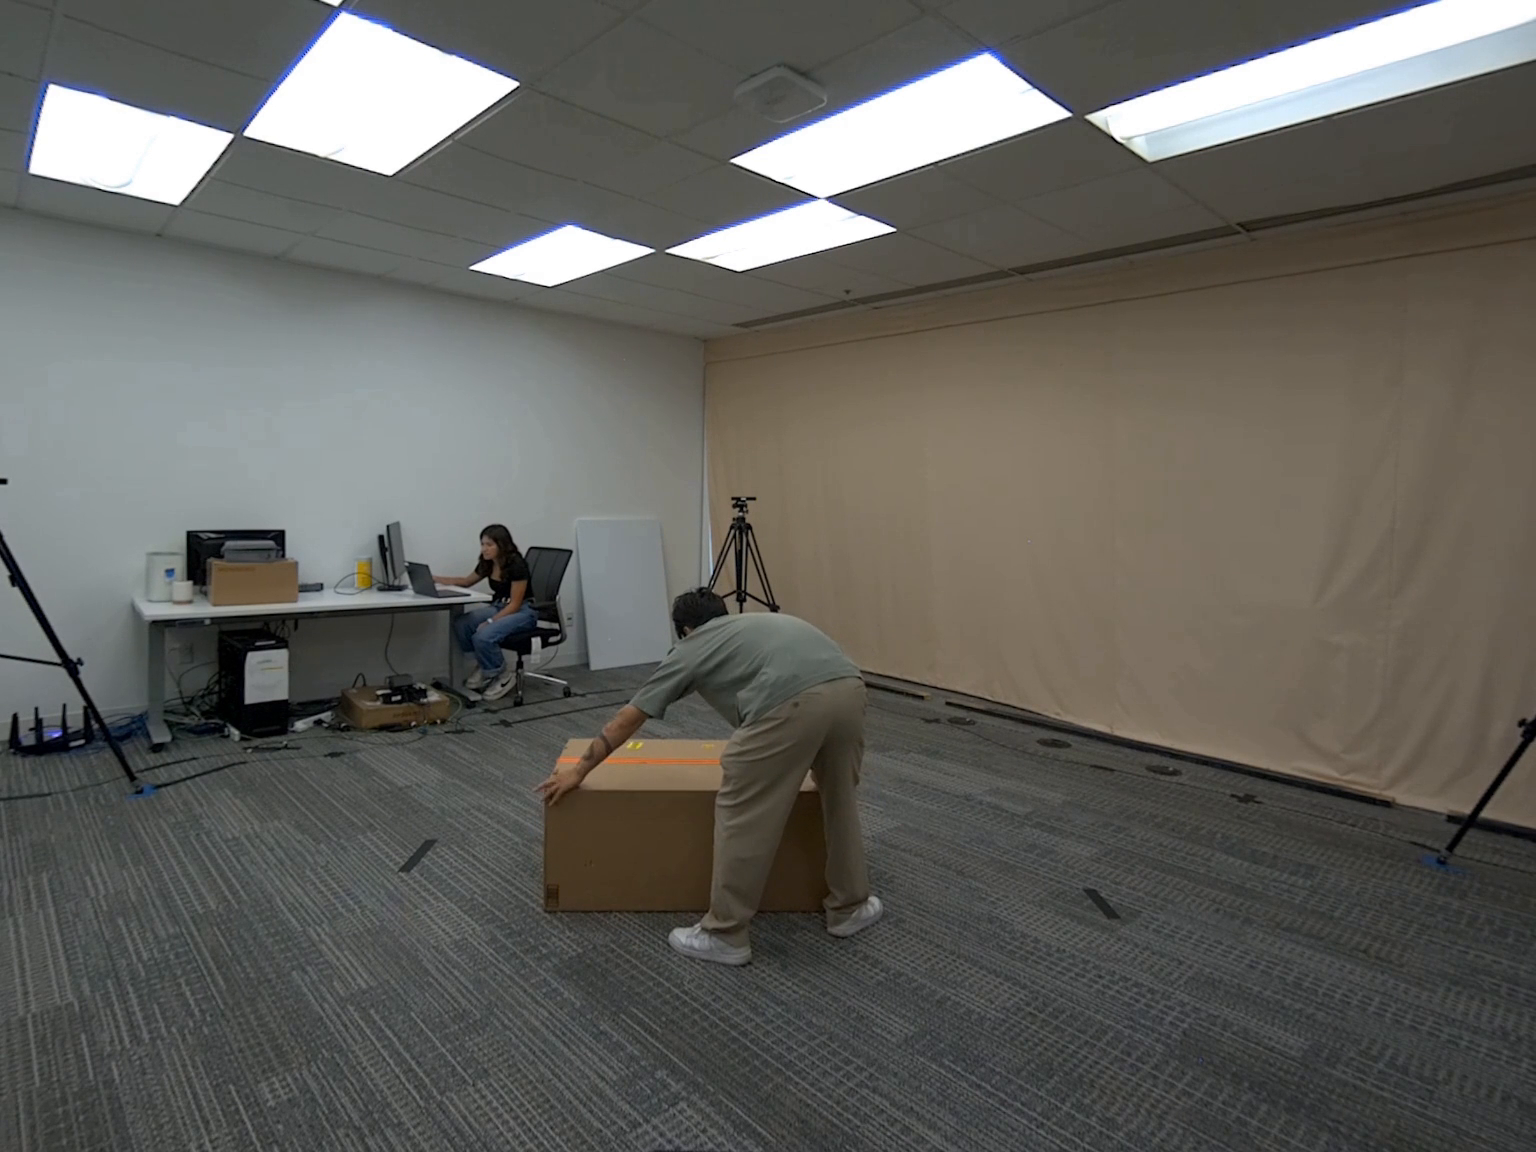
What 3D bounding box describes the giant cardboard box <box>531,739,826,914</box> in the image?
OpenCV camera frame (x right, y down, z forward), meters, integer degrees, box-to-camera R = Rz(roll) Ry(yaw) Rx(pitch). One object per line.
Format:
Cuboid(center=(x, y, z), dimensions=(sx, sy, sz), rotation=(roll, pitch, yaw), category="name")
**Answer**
Cuboid(center=(-0.266, 0.886, 3.100), dimensions=(1.023, 0.425, 0.581), rotation=(1, 6, -3), category="giant cardboard box")
